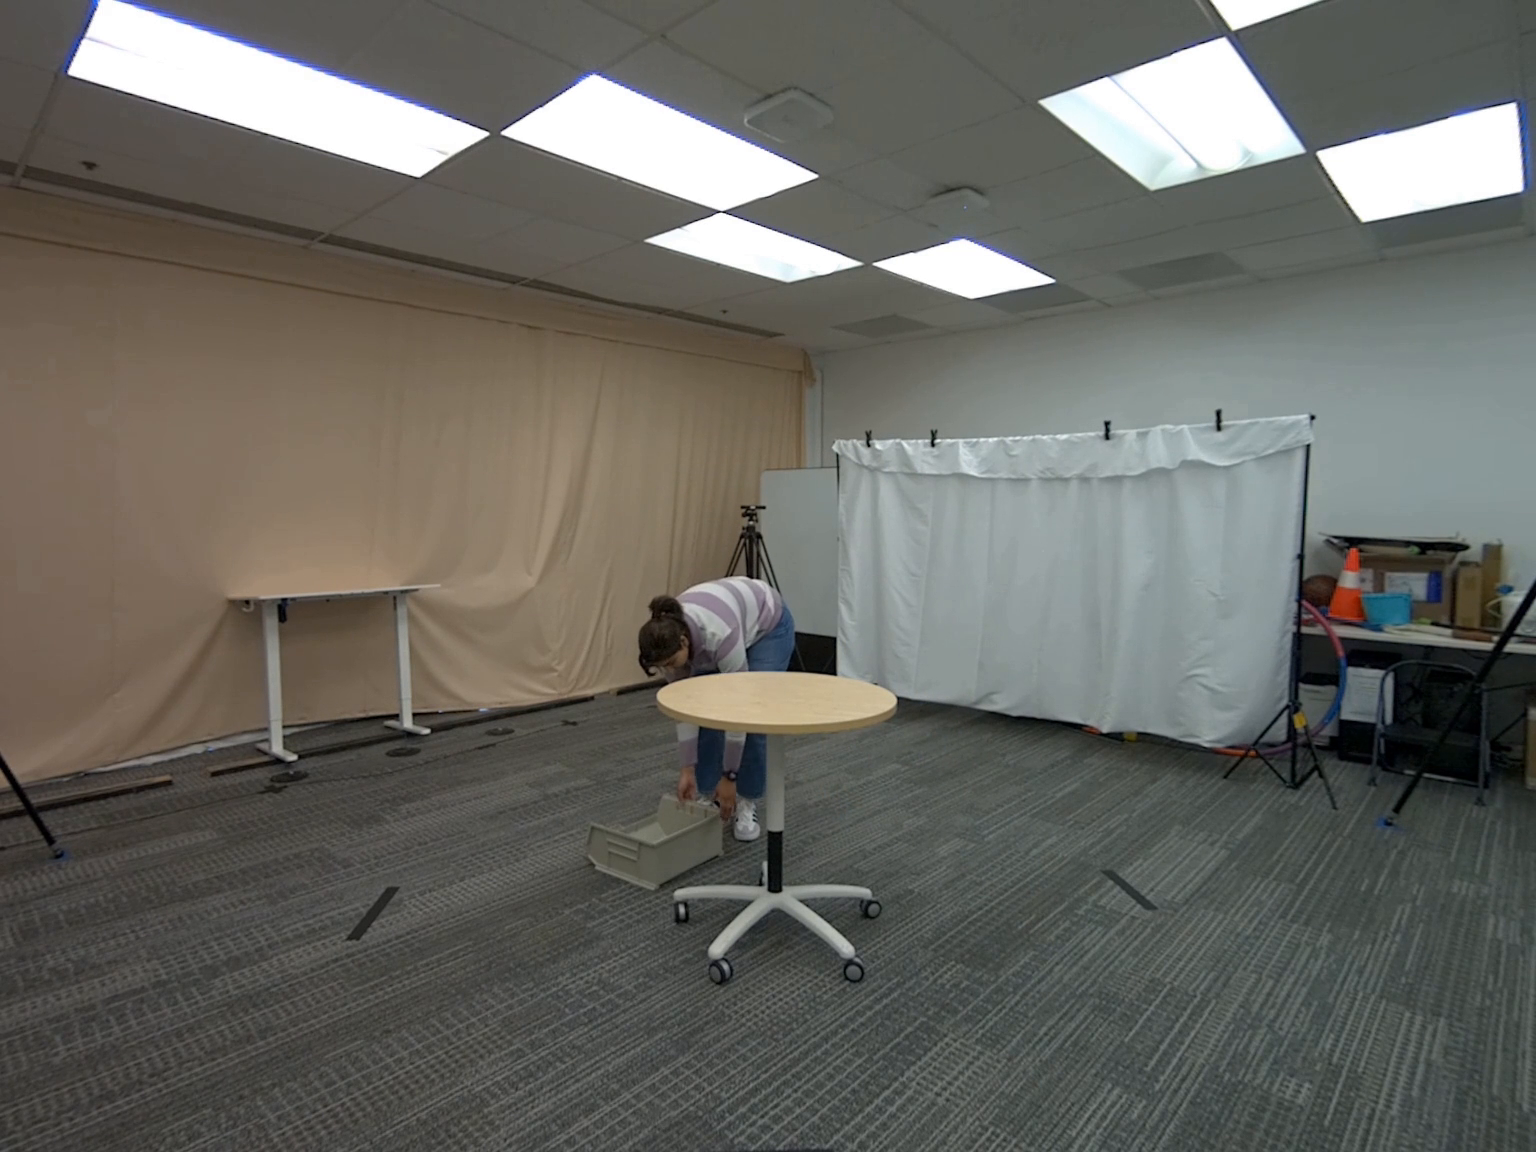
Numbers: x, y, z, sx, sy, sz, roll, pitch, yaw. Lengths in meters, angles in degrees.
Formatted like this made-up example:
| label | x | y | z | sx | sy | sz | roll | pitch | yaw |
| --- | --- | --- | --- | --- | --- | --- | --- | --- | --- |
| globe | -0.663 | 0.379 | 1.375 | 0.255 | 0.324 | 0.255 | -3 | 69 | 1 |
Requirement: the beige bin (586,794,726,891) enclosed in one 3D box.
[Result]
| label | x | y | z | sx | sy | sz | roll | pitch | yaw |
| --- | --- | --- | --- | --- | --- | --- | --- | --- | --- |
| beige bin | -0.438 | 1.028 | 3.314 | 0.390 | 0.188 | 0.410 | 5 | 7 | 38 |
